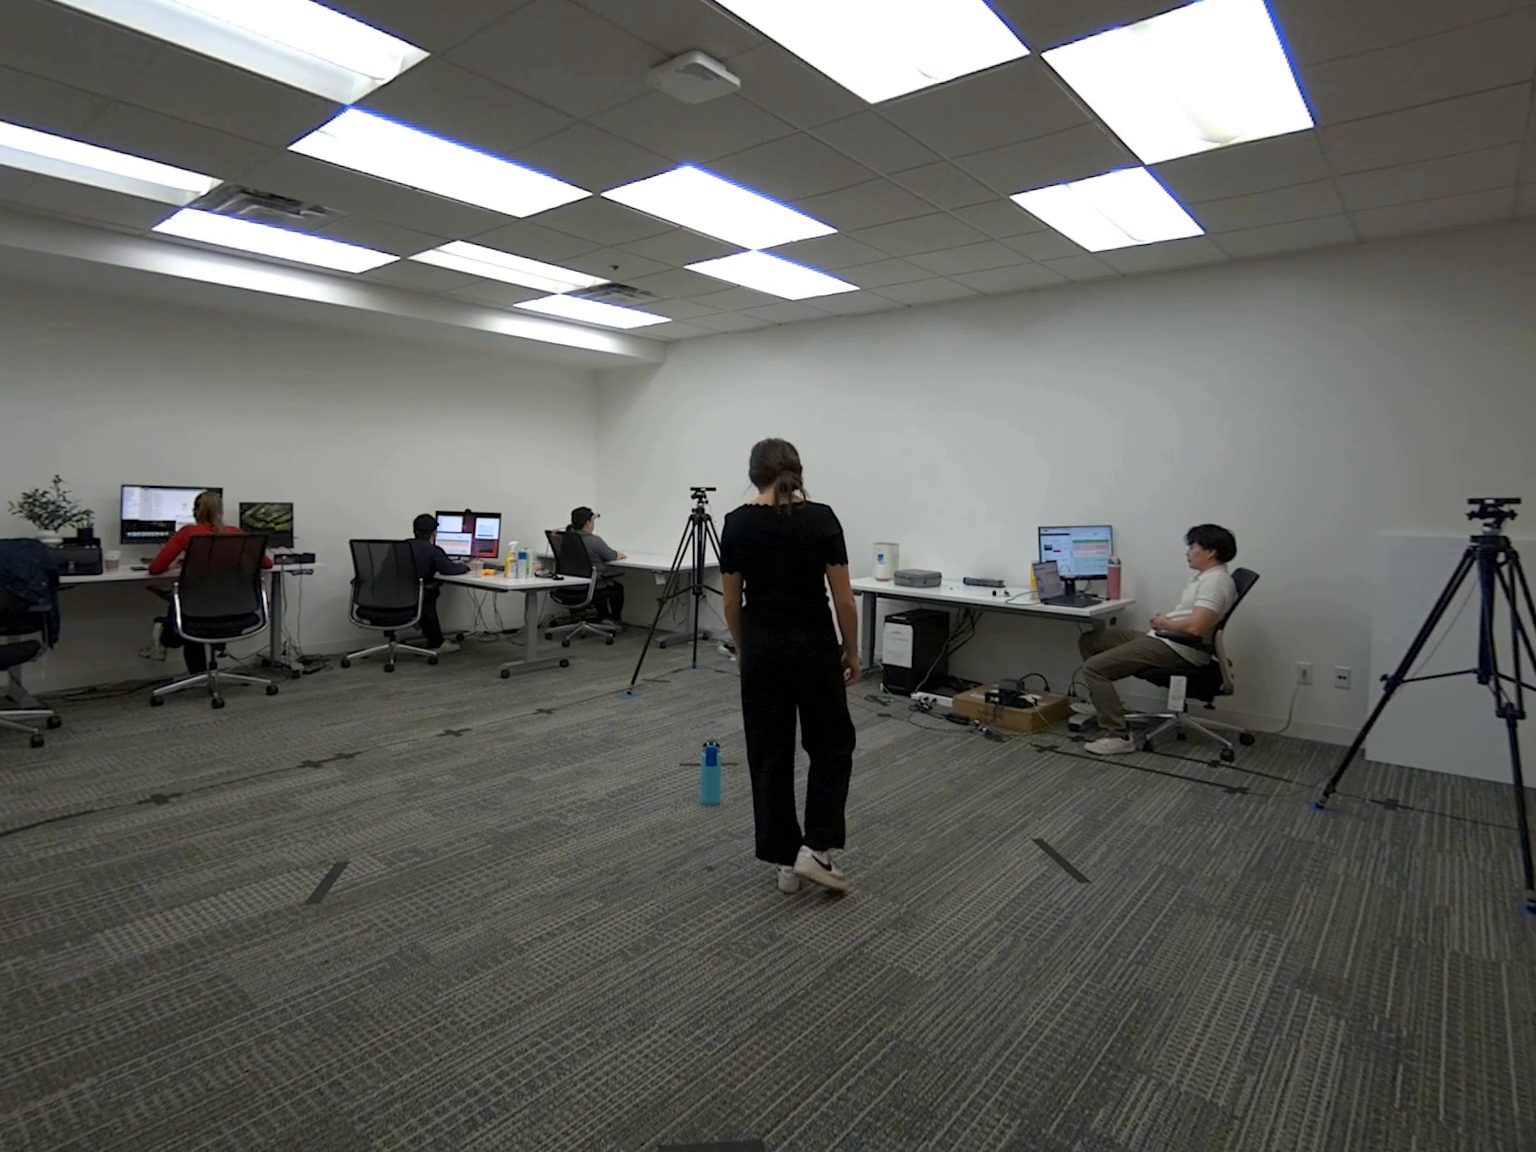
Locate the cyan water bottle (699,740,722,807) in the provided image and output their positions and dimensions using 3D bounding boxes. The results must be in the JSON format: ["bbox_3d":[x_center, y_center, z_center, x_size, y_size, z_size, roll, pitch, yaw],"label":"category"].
[{"bbox_3d":[-0.261,0.859,3.764,0.092,0.282,0.093,1,4,-2],"label":"cyan water bottle"}]
